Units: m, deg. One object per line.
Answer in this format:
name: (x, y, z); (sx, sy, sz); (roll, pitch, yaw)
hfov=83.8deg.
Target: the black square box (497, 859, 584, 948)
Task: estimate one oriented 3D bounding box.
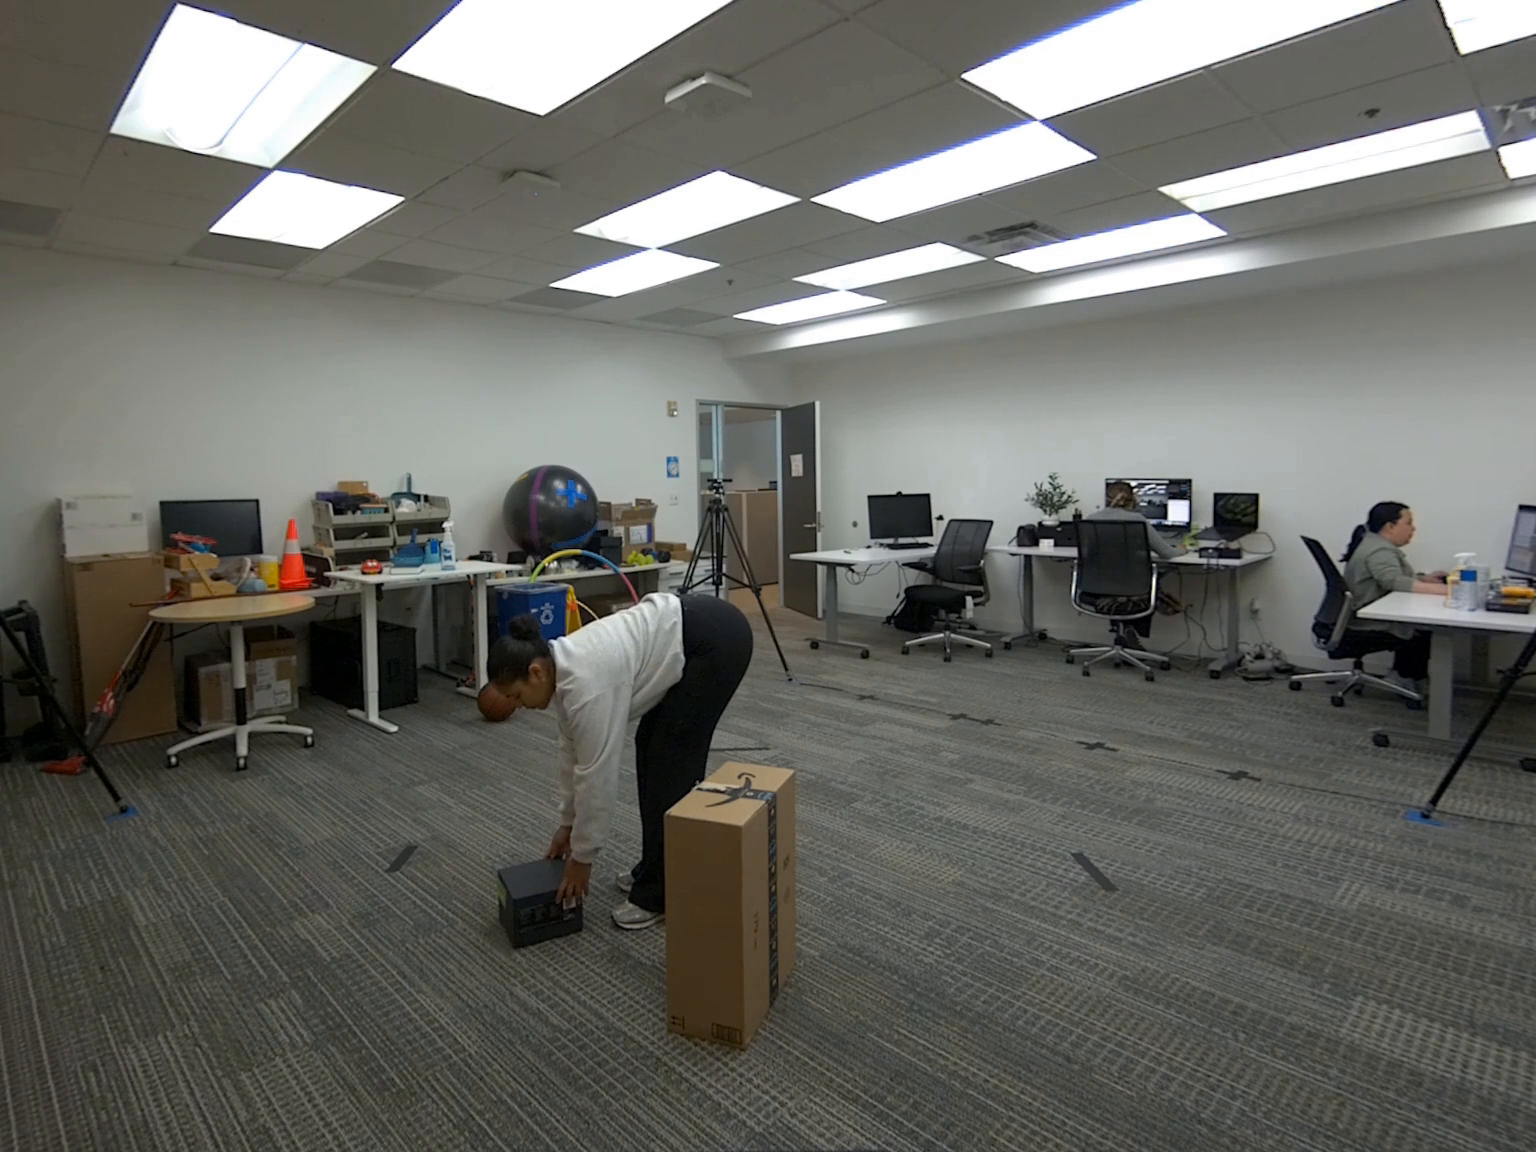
black square box: (-0.720, 1.022, 2.704); (0.212, 0.155, 0.234); (-5, 7, -29)
